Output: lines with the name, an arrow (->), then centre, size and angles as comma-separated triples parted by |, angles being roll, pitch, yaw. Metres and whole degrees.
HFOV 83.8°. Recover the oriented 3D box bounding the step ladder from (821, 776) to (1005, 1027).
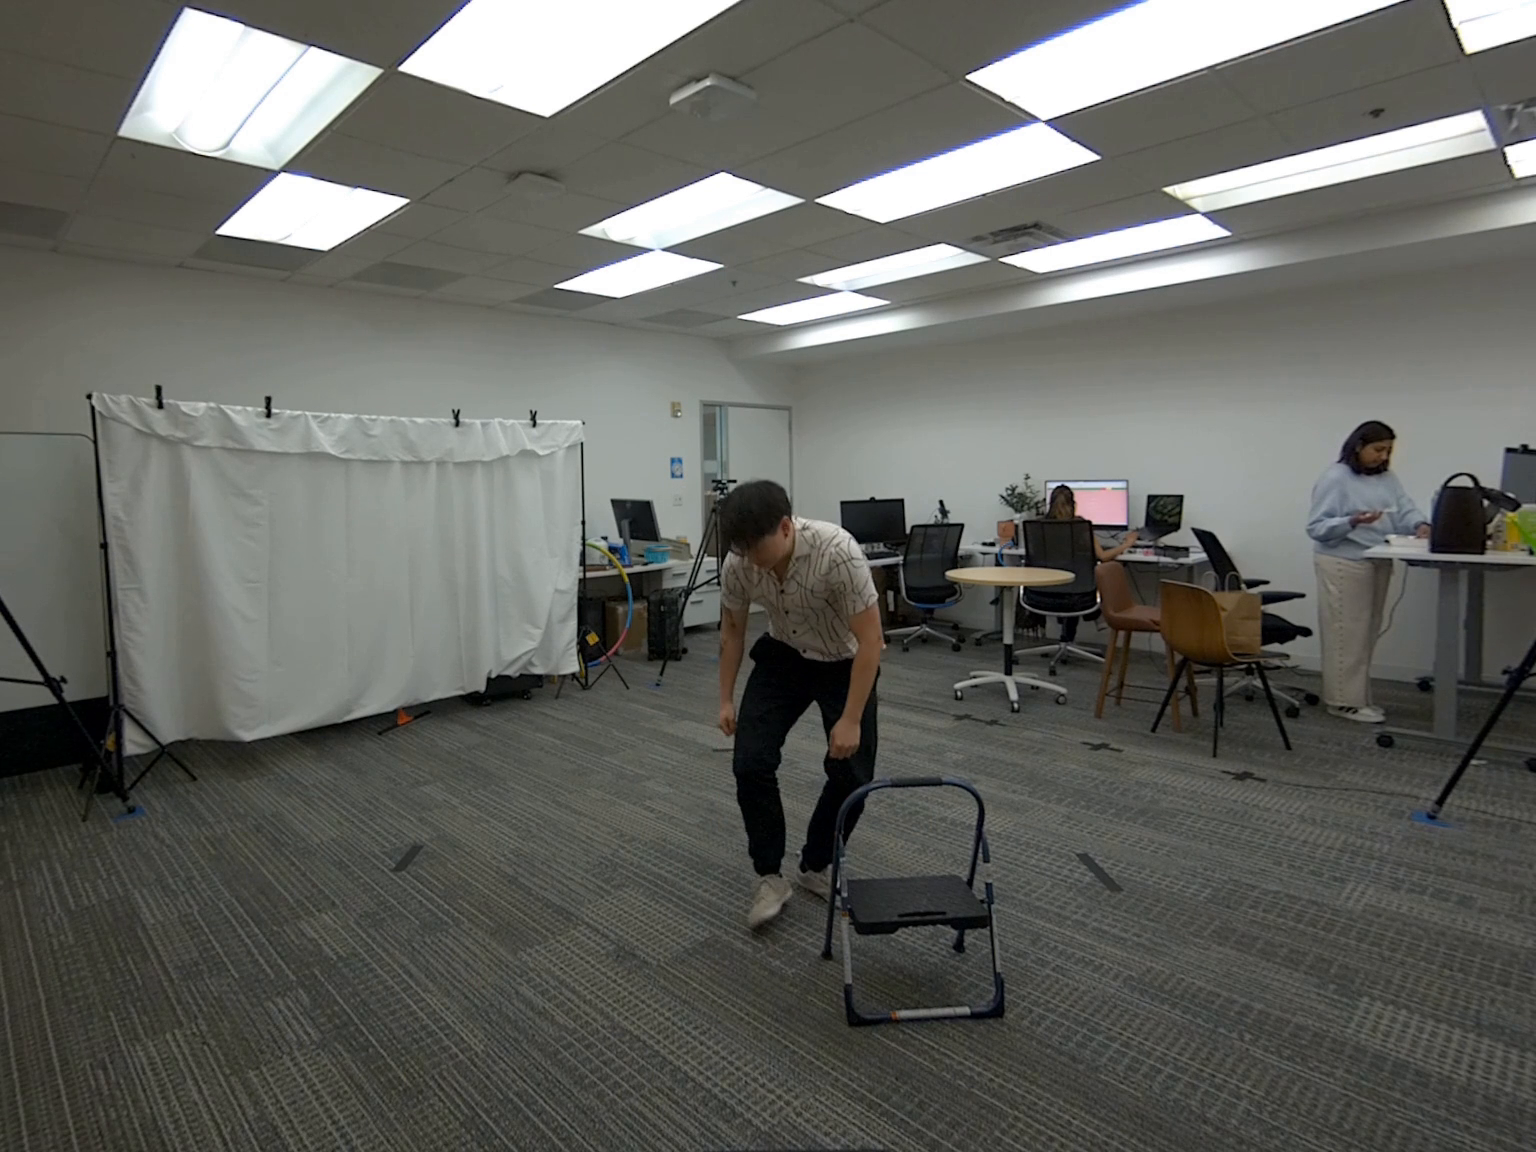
step ladder -> 0.391, 0.828, 2.338 | 0.428, 0.604, 0.352 | -1, 4, -6
